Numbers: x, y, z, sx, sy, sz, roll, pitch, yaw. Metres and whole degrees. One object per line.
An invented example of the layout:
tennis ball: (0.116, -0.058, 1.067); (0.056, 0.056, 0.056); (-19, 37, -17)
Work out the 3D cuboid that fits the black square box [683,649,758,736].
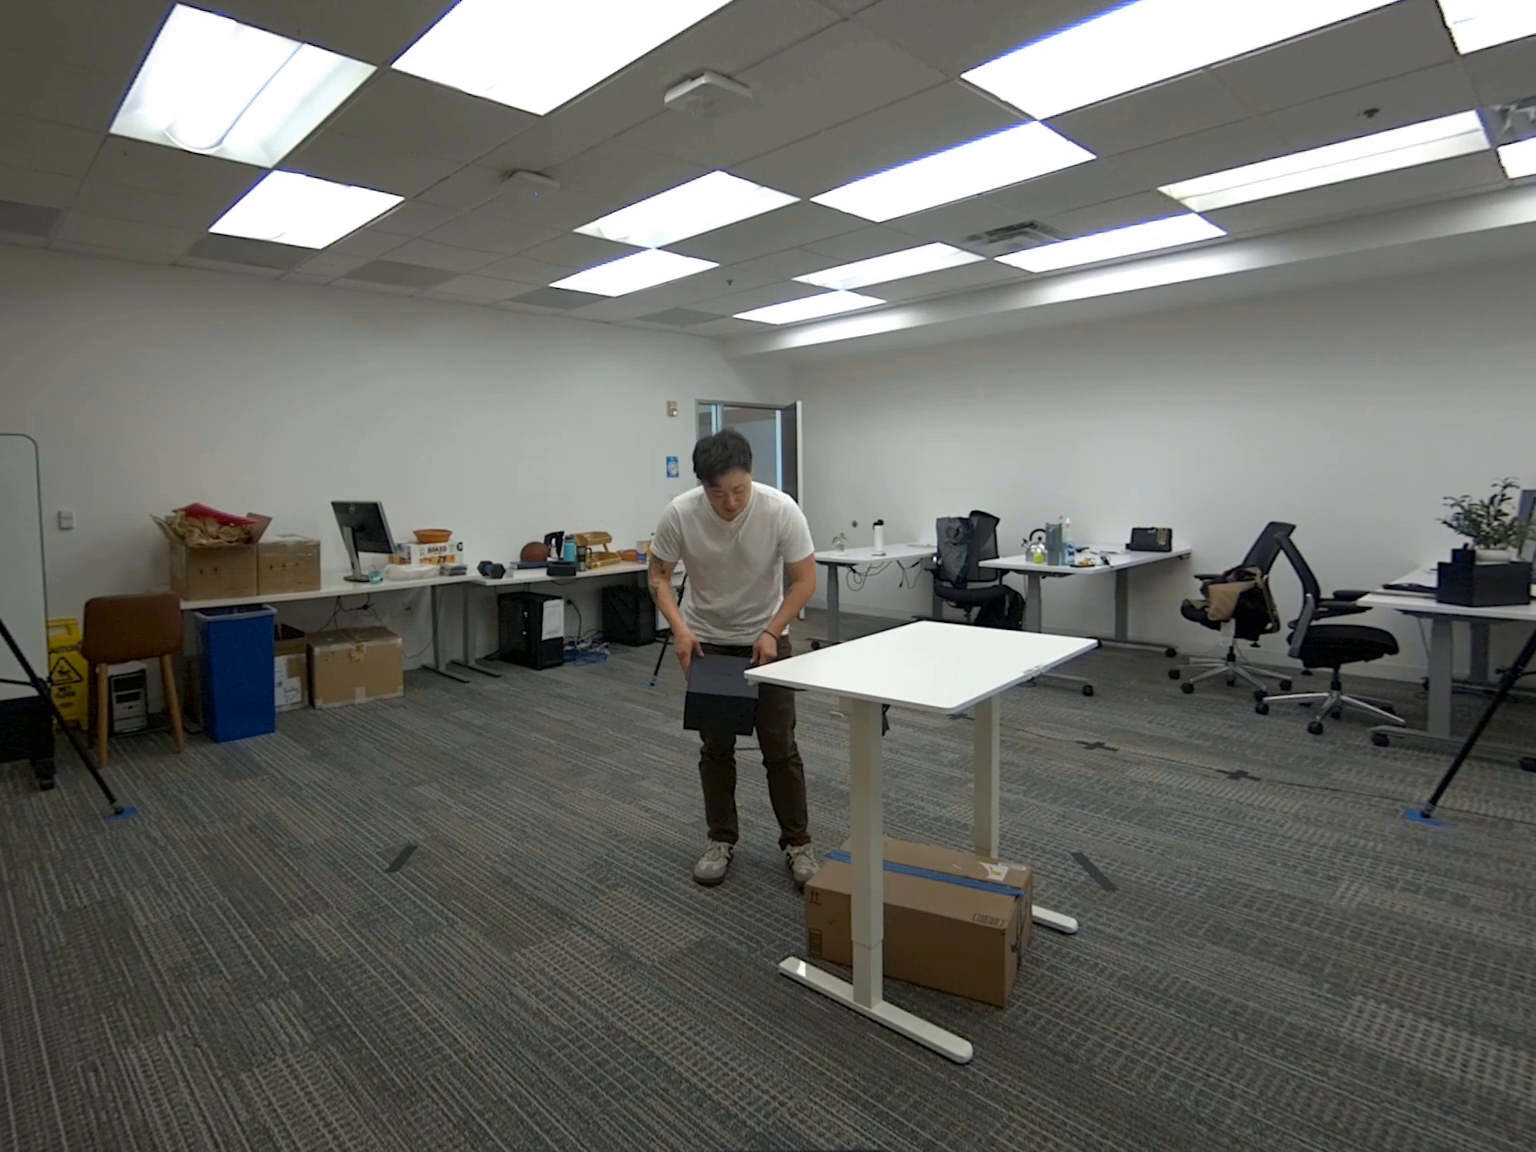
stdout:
black square box: (-0.147, 0.392, 2.812); (0.227, 0.153, 0.221); (6, 28, -2)
